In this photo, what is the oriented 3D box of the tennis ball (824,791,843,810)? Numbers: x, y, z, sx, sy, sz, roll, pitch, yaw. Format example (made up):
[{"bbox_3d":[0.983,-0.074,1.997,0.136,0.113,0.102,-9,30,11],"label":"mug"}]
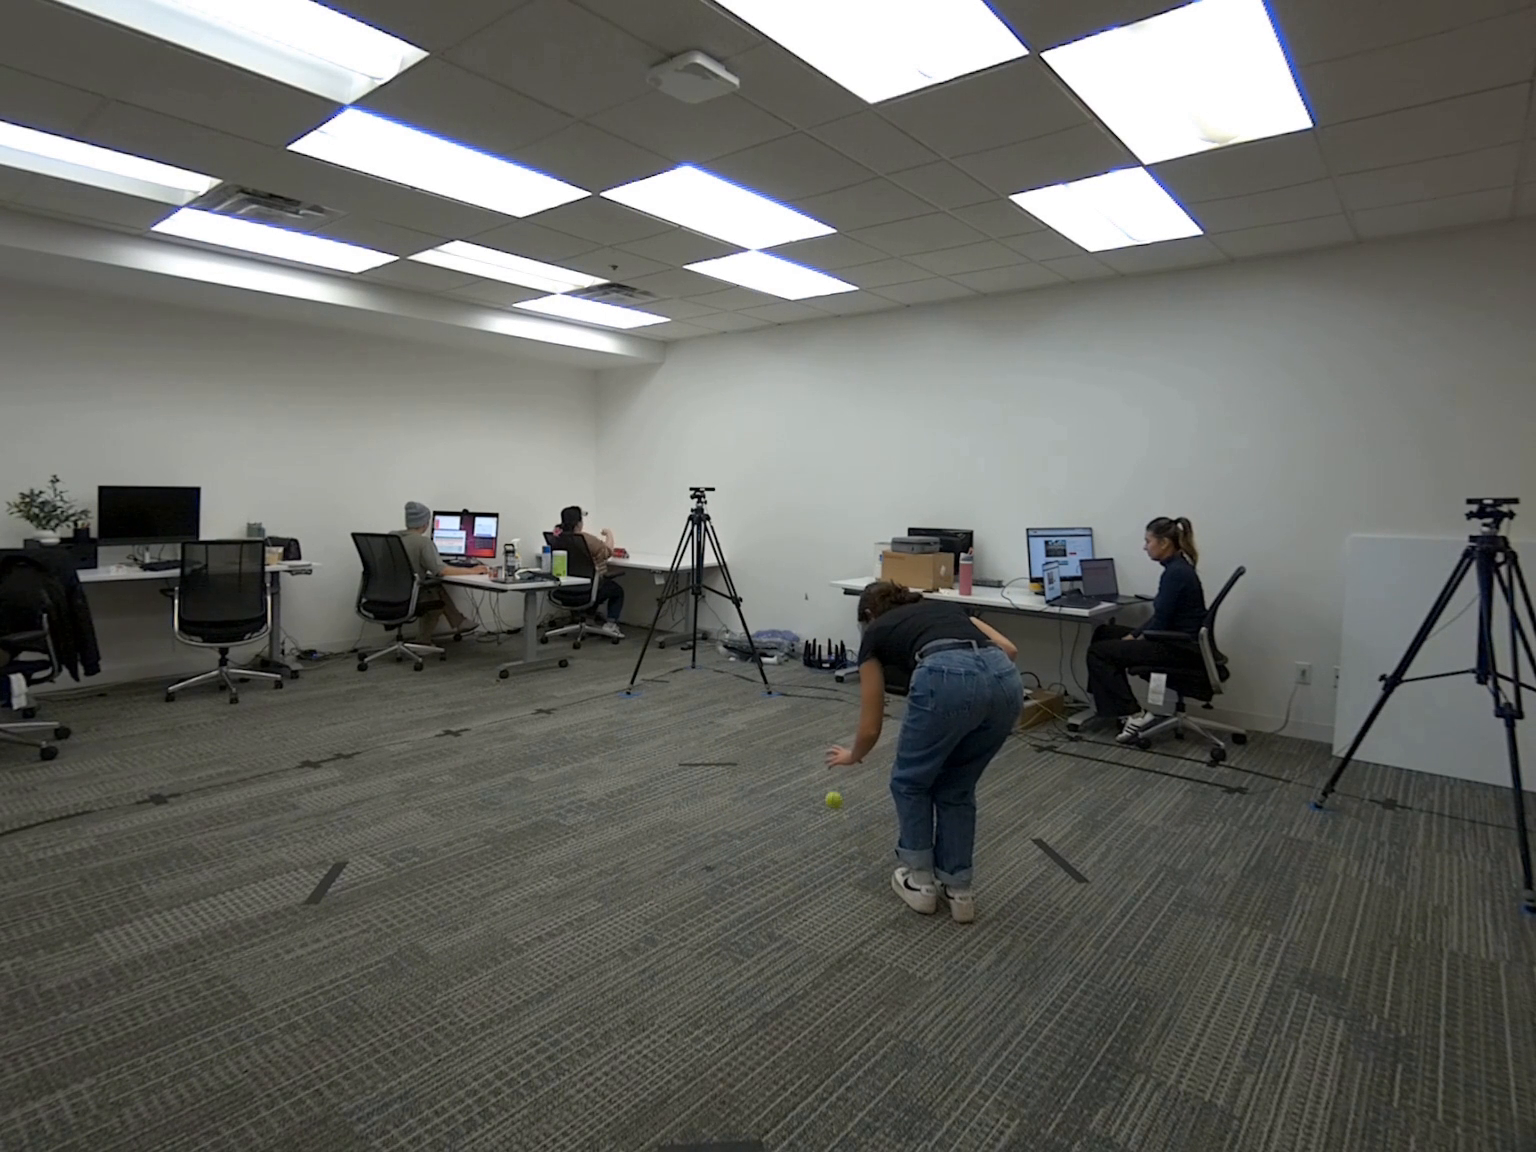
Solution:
[{"bbox_3d":[0.247,0.843,3.310,0.066,0.066,0.067,1,4,-2],"label":"tennis ball"}]
